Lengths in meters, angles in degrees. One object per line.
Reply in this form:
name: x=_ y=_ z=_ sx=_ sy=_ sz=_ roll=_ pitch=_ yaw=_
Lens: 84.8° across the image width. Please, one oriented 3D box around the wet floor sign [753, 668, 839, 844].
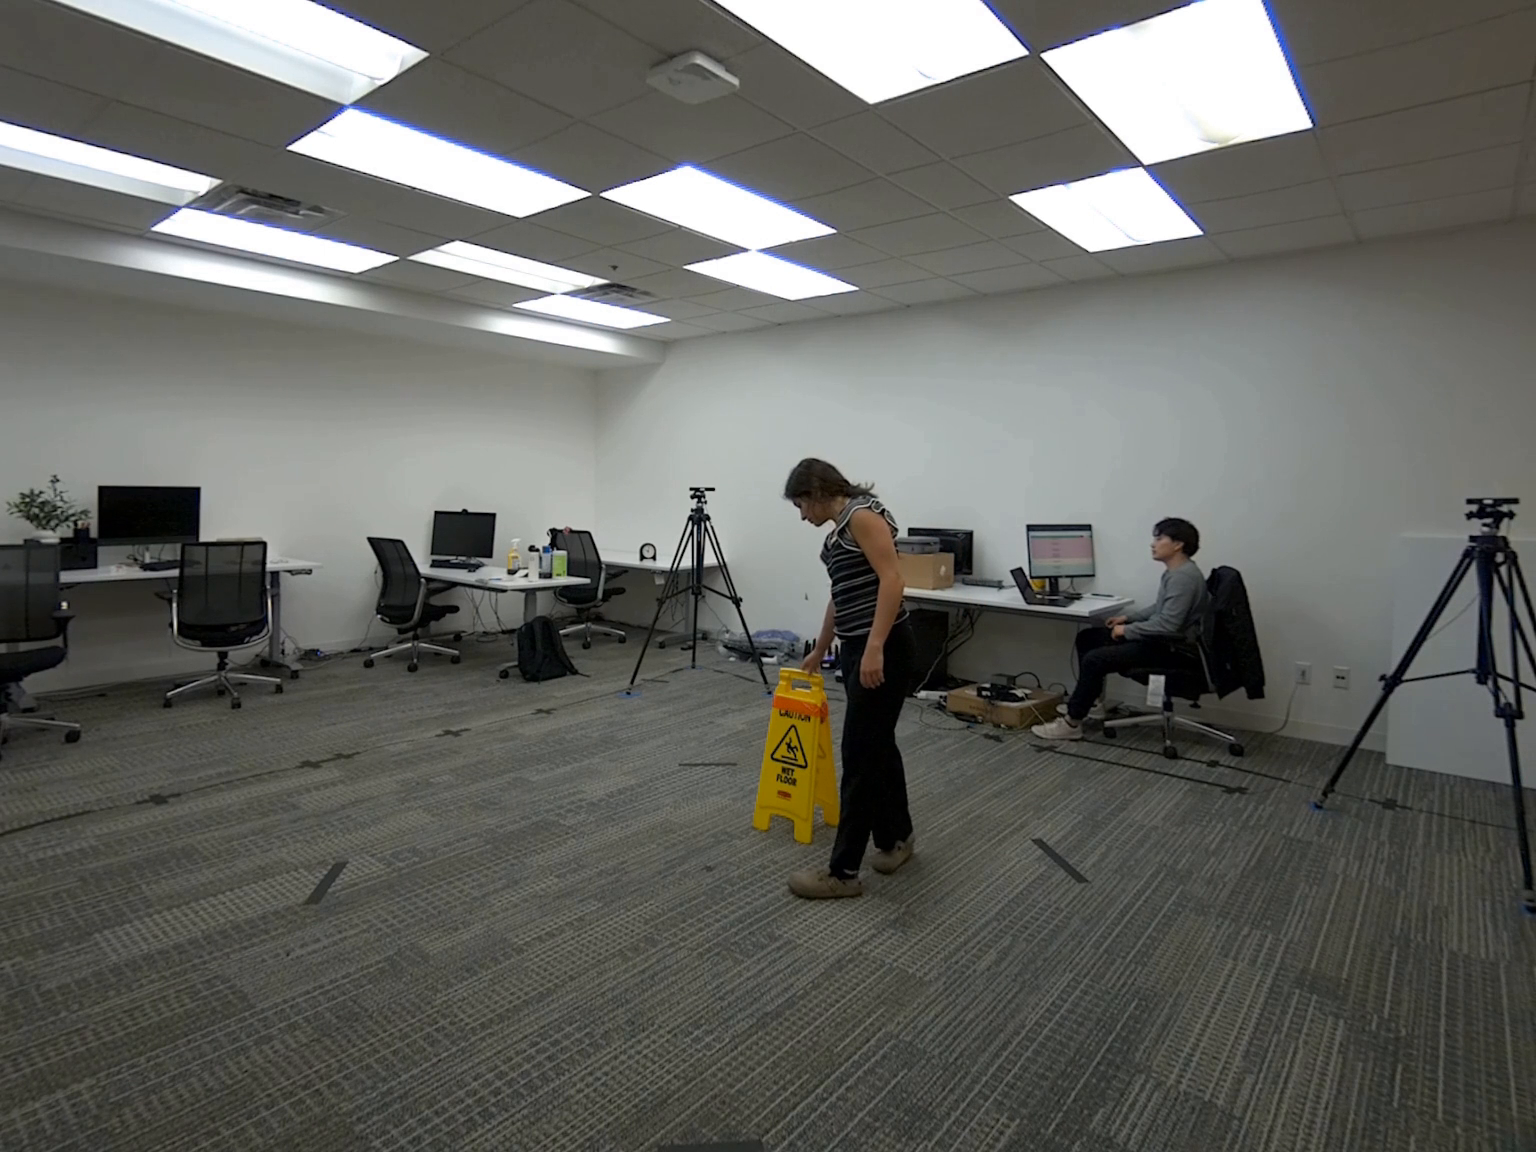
wet floor sign: x=0.119 y=0.708 z=3.511 sx=0.291 sy=0.644 sz=0.281 roll=4 pitch=3 yaw=36
